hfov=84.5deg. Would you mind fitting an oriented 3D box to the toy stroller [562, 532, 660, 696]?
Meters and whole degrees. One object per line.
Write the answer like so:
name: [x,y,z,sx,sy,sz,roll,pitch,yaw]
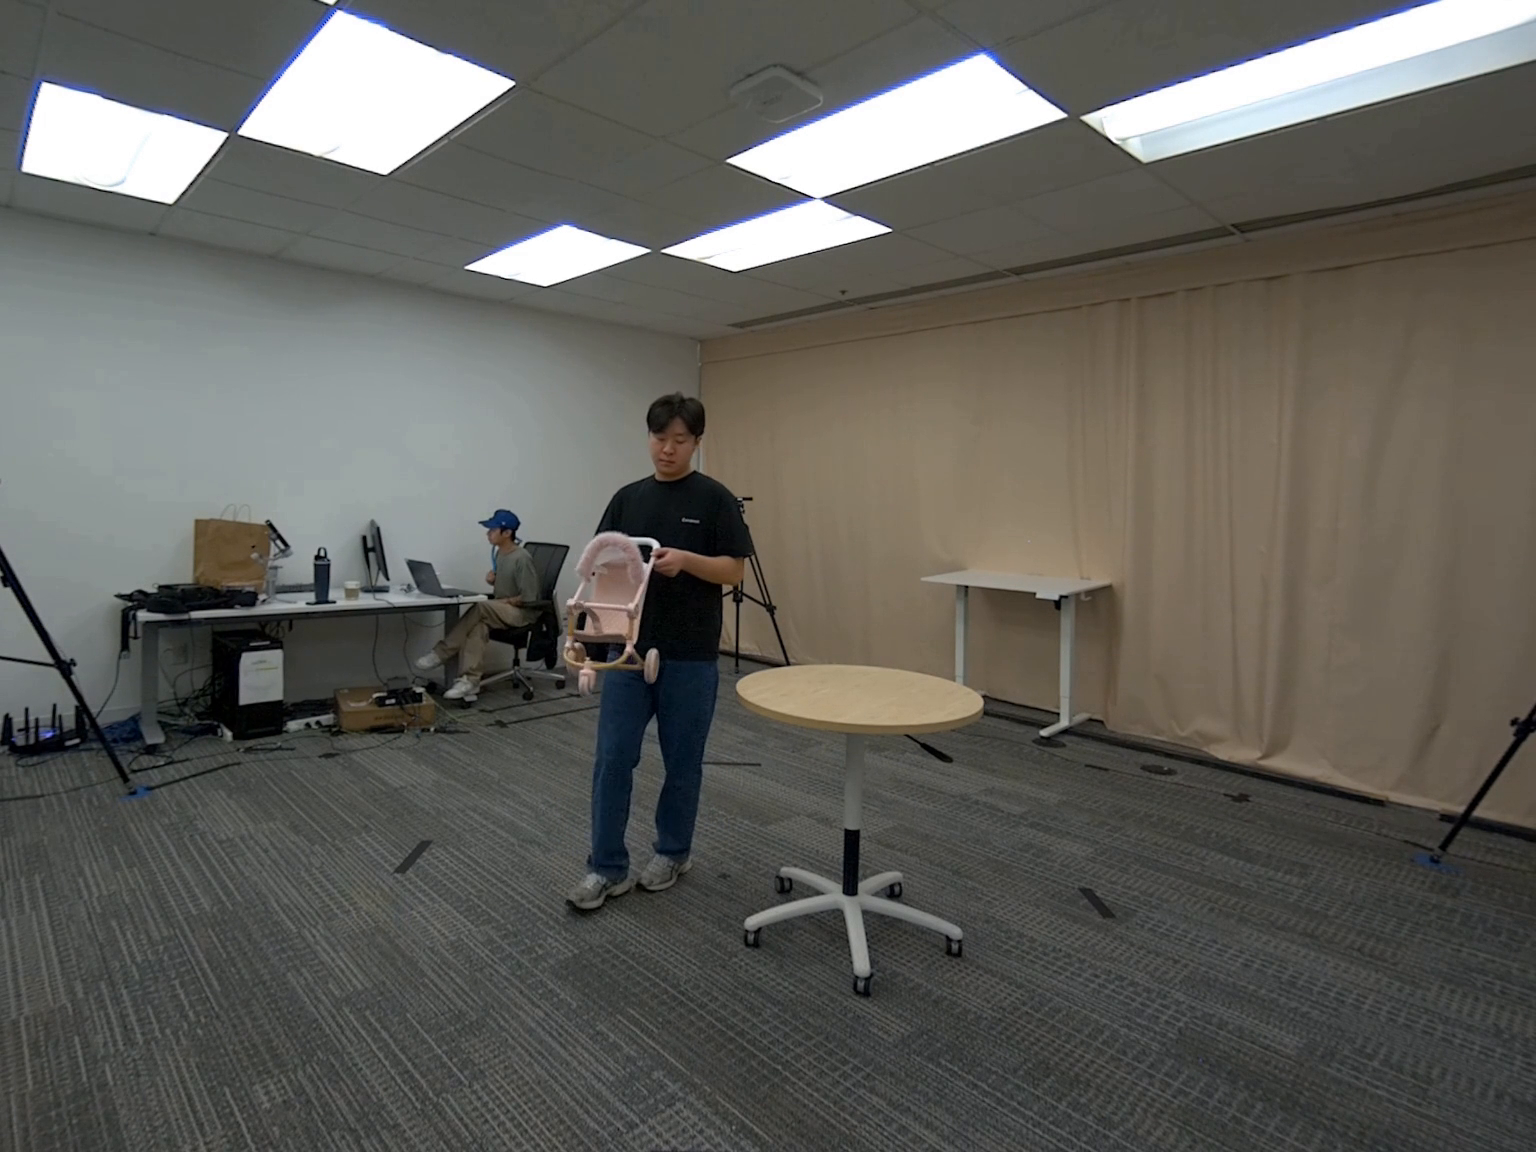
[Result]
toy stroller: [-0.512,0.109,2.584,0.284,0.539,0.335,3,-11,12]
